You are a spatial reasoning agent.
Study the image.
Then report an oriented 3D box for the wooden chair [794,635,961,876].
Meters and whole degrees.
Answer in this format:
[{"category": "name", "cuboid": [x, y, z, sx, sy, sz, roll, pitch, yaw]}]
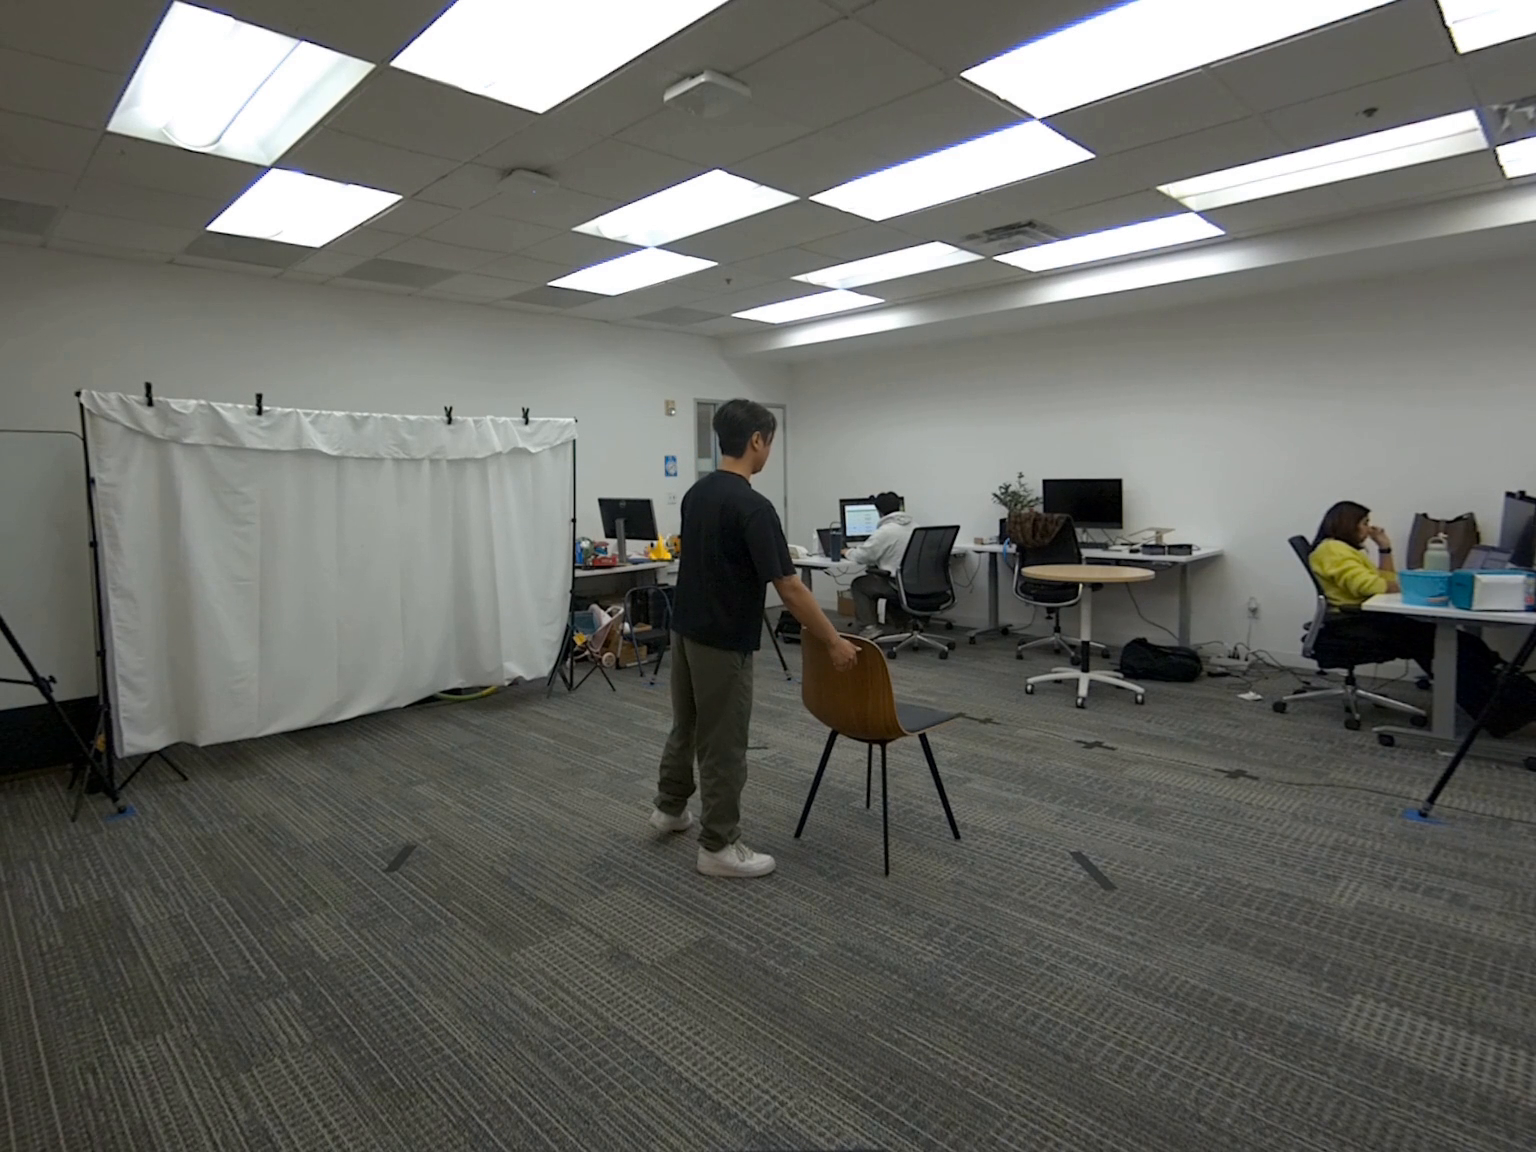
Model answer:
[{"category": "wooden chair", "cuboid": [0.422, 0.587, 3.274, 0.511, 0.871, 0.493, -10, 10, -43]}]
